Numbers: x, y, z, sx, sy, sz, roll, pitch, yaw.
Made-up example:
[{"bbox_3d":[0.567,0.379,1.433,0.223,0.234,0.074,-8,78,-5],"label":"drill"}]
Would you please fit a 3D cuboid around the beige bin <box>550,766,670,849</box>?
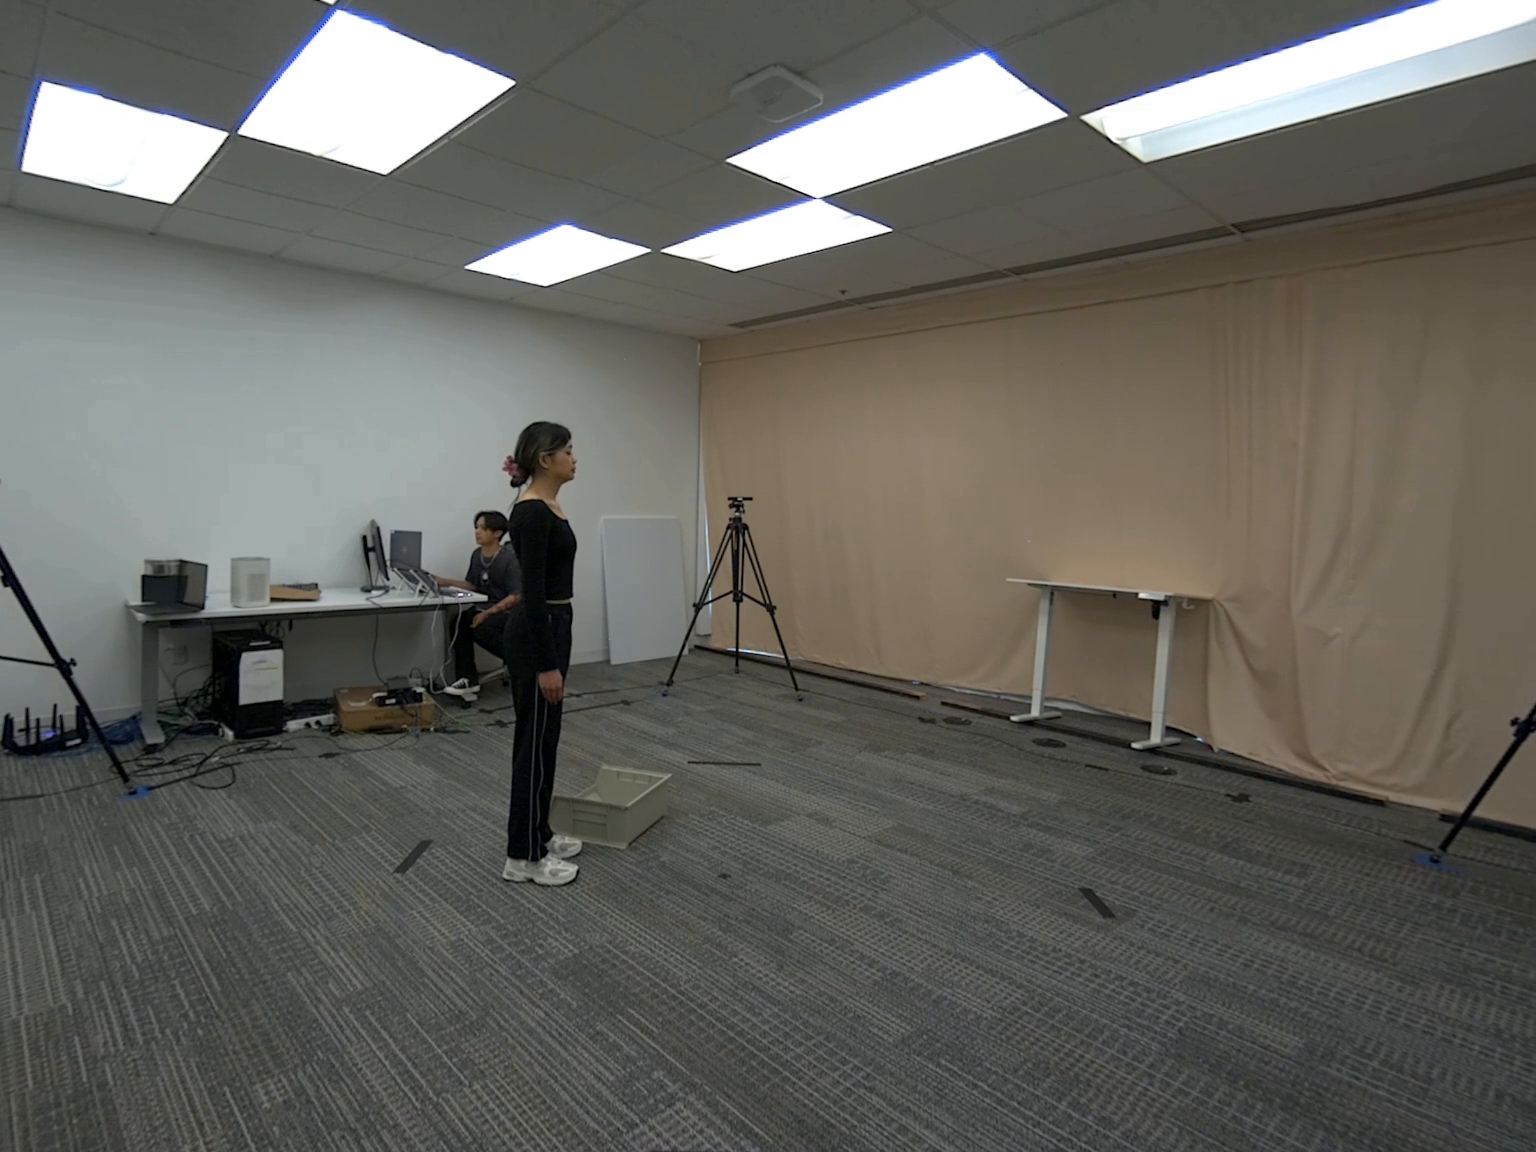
[{"bbox_3d":[-0.677,0.966,3.563,0.383,0.188,0.417,5,5,19],"label":"beige bin"}]
